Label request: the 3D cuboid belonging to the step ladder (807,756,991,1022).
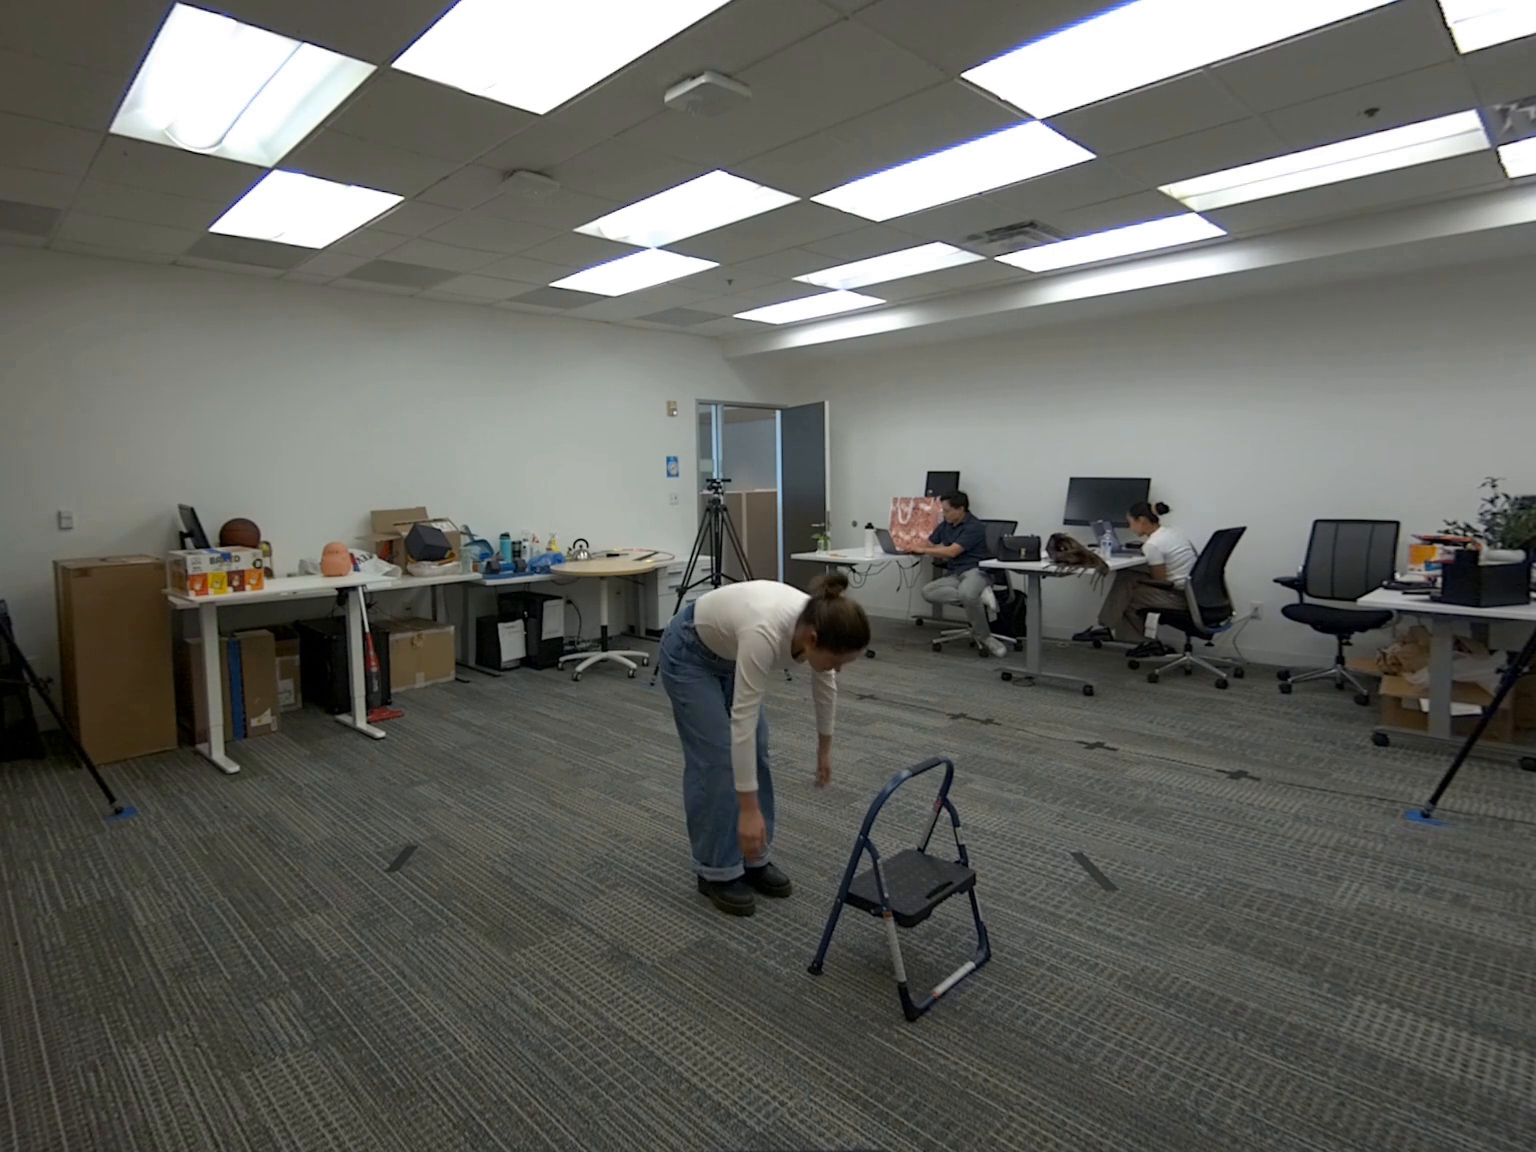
[{"bbox_3d":[0.379,0.813,2.429,0.360,0.604,0.419,3,6,43],"label":"step ladder"}]
